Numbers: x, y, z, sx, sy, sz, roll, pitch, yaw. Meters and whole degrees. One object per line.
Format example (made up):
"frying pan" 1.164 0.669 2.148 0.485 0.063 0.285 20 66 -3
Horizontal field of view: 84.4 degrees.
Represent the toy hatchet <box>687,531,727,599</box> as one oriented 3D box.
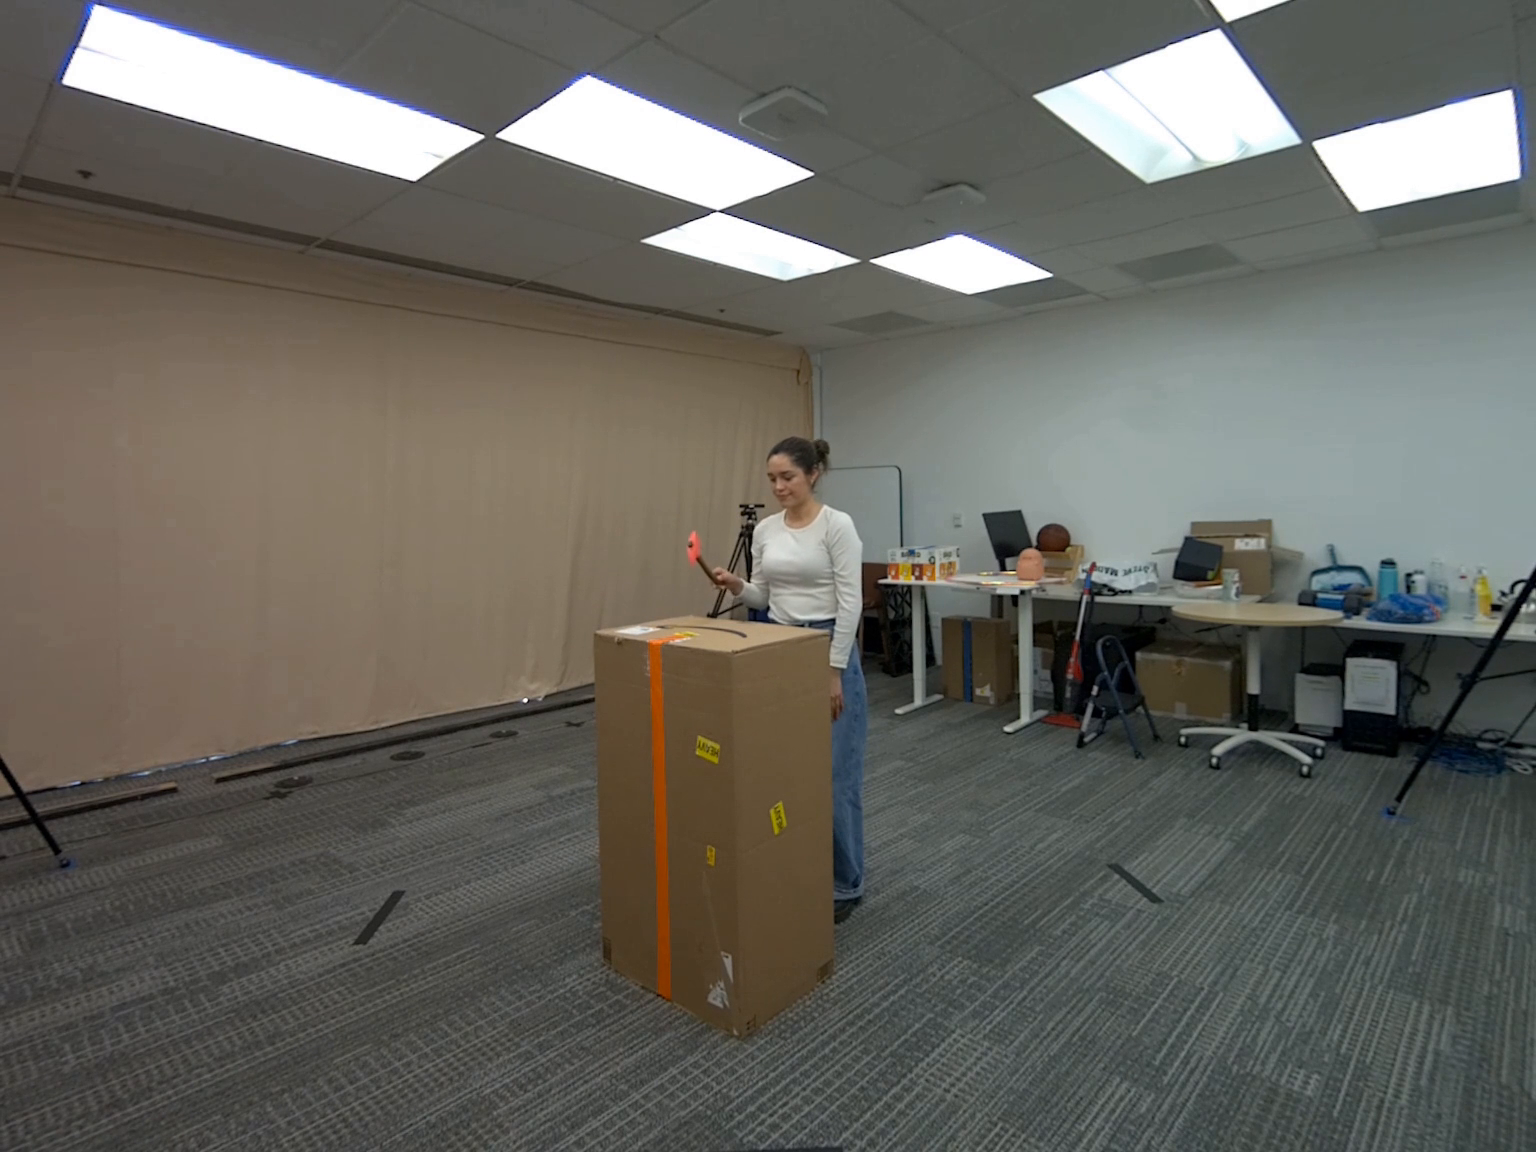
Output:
"toy hatchet" -0.214 -0.054 2.778 0.030 0.133 0.262 -15 -21 12
